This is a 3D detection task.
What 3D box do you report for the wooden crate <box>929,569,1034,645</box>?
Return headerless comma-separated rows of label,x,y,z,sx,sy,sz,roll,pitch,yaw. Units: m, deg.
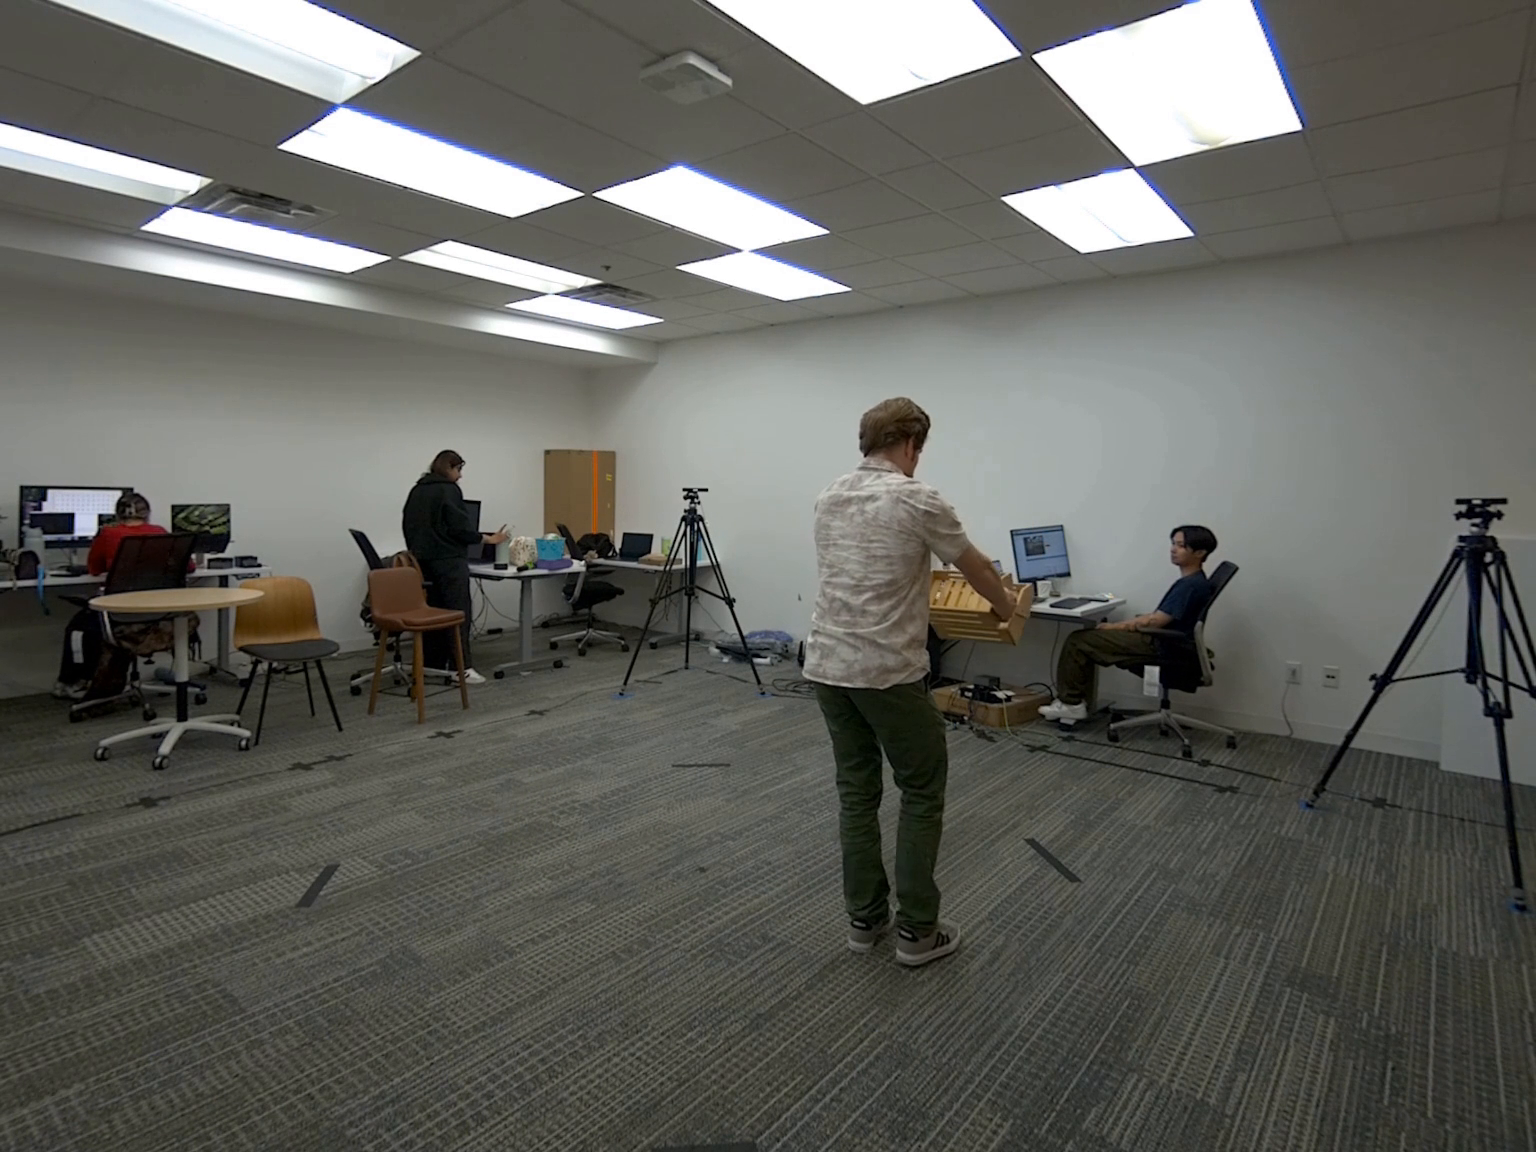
wooden crate,0.735,0.077,3.087,0.335,0.304,0.263,2,-39,41
